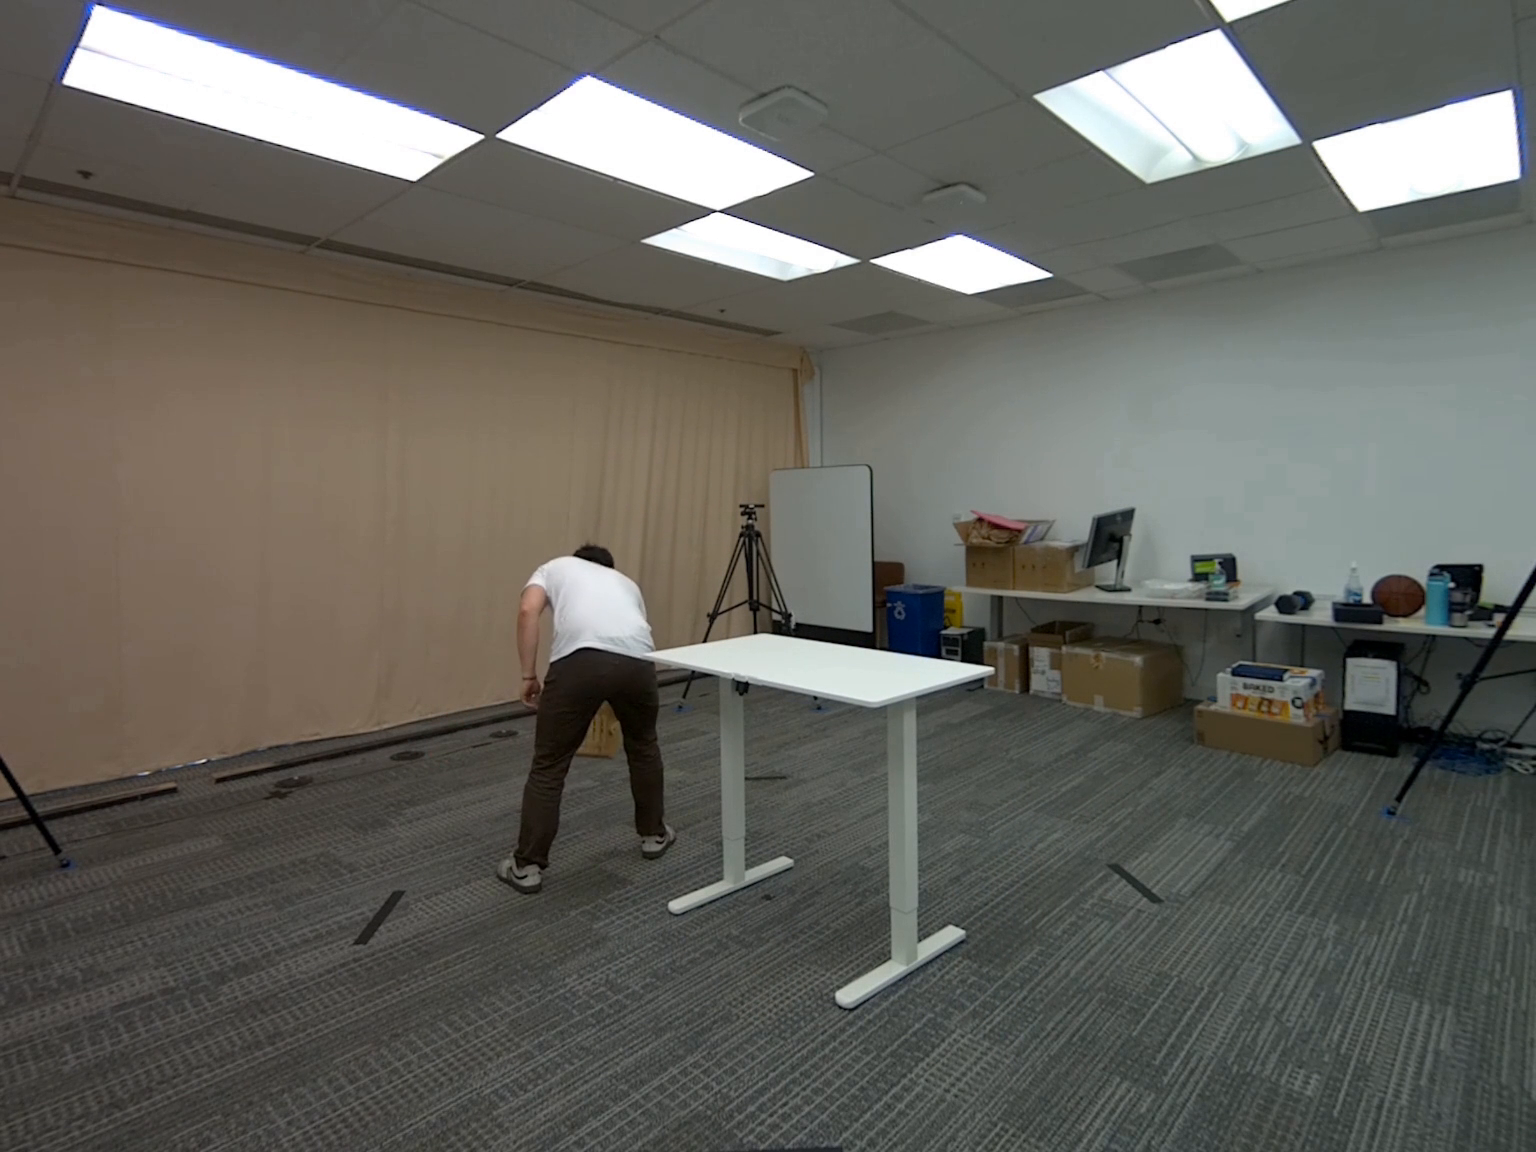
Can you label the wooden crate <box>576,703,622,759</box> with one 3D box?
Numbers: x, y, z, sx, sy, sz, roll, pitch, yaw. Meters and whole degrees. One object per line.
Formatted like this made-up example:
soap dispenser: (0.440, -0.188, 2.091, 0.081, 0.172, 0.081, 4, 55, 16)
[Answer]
wooden crate: (-0.740, 0.629, 3.700, 0.333, 0.303, 0.265, -2, -6, 29)
